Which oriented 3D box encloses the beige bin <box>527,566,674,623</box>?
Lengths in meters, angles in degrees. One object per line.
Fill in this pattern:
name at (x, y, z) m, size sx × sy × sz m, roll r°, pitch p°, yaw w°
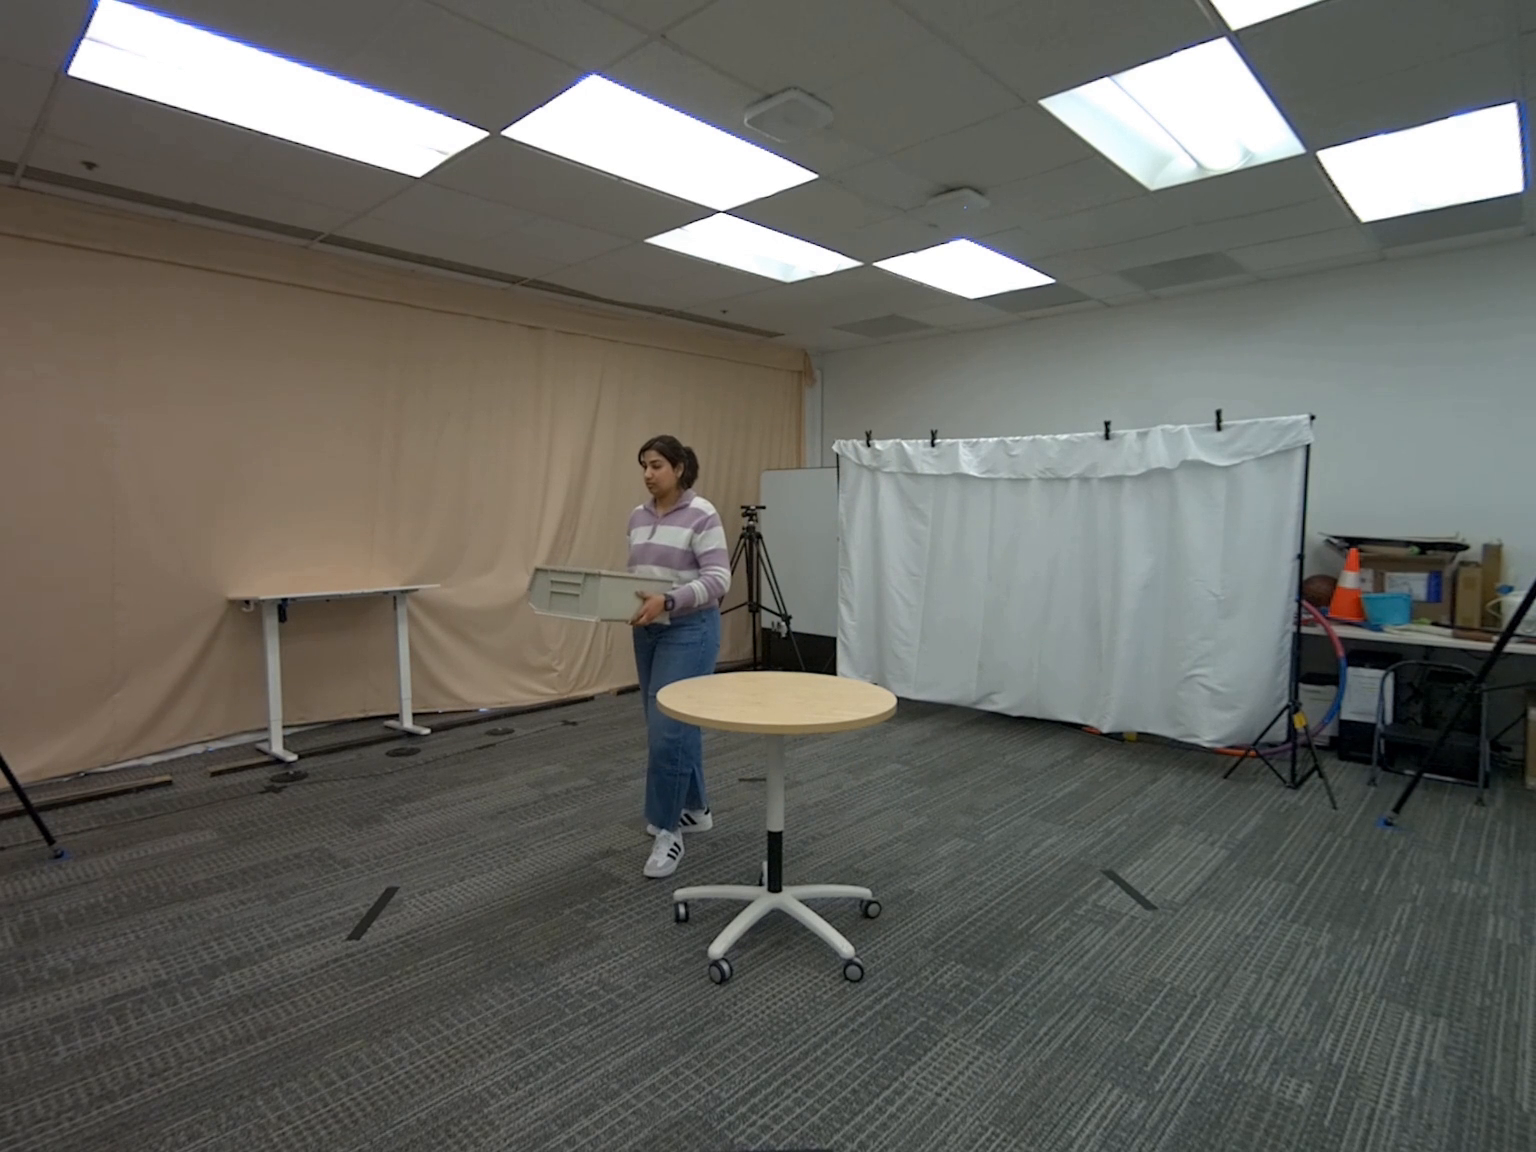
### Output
beige bin at (-0.625, 0.071, 3.154) m, size 0.390 × 0.189 × 0.408 m, roll 6°, pitch -1°, yaw 36°
